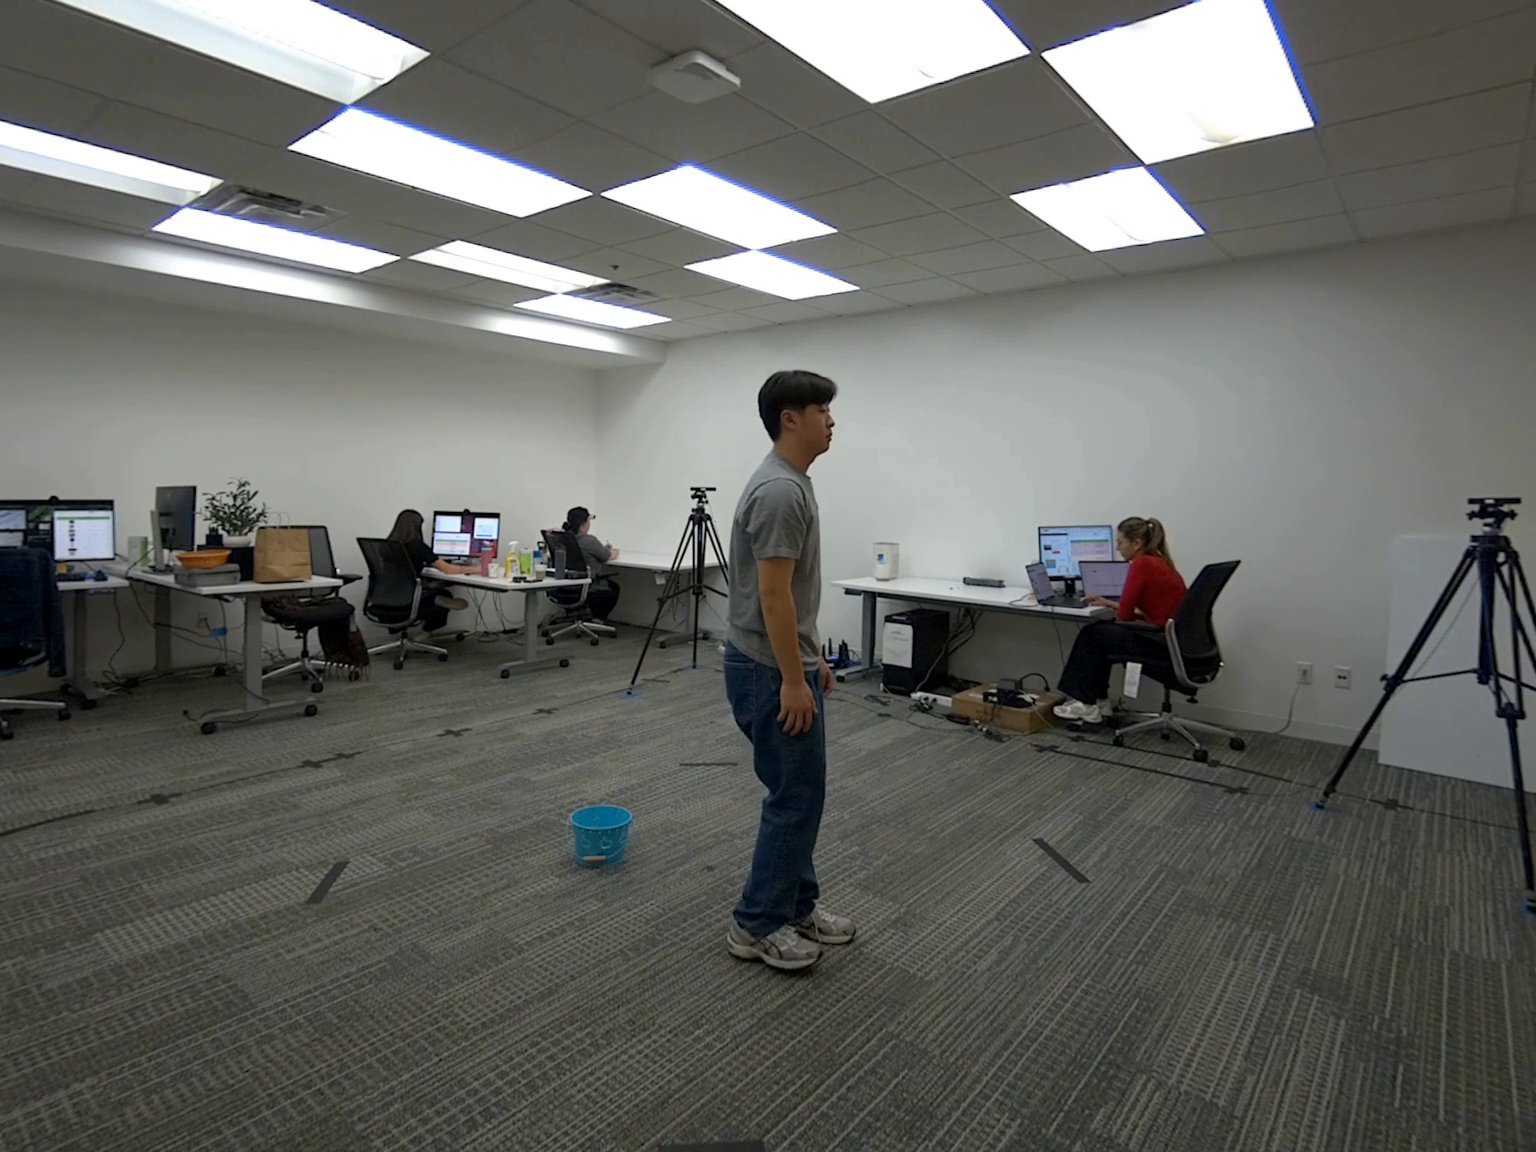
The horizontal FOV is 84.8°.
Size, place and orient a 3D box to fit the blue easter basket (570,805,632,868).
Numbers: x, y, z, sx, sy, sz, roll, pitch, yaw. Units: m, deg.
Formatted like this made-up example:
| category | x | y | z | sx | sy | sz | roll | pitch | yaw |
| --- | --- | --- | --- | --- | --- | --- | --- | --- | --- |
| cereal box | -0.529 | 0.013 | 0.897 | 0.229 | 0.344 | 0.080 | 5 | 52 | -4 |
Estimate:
| category | x | y | z | sx | sy | sz | roll | pitch | yaw |
| --- | --- | --- | --- | --- | --- | --- | --- | --- | --- |
| blue easter basket | -0.643 | 0.971 | 3.187 | 0.243 | 0.155 | 0.245 | 1 | 5 | -2 |
